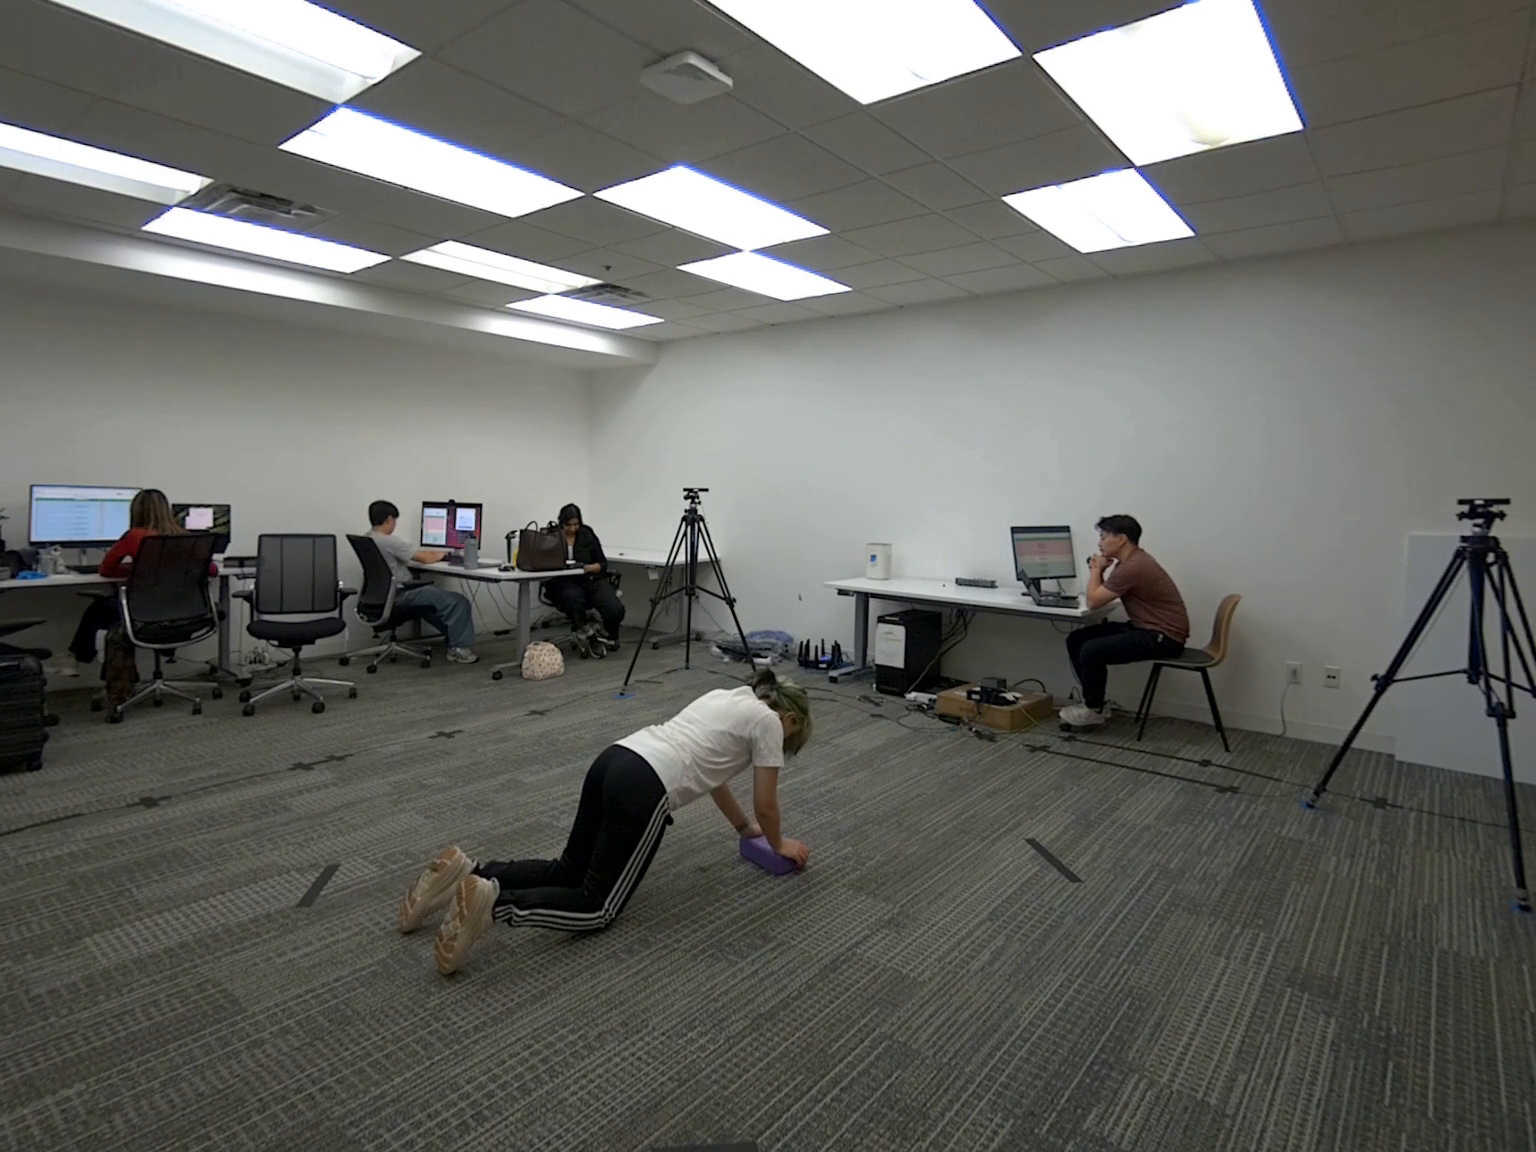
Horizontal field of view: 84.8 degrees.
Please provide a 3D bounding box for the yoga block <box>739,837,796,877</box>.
[{"bbox_3d":[0.004,1.028,3.196,0.144,0.076,0.237,-2,5,-40],"label":"yoga block"}]
